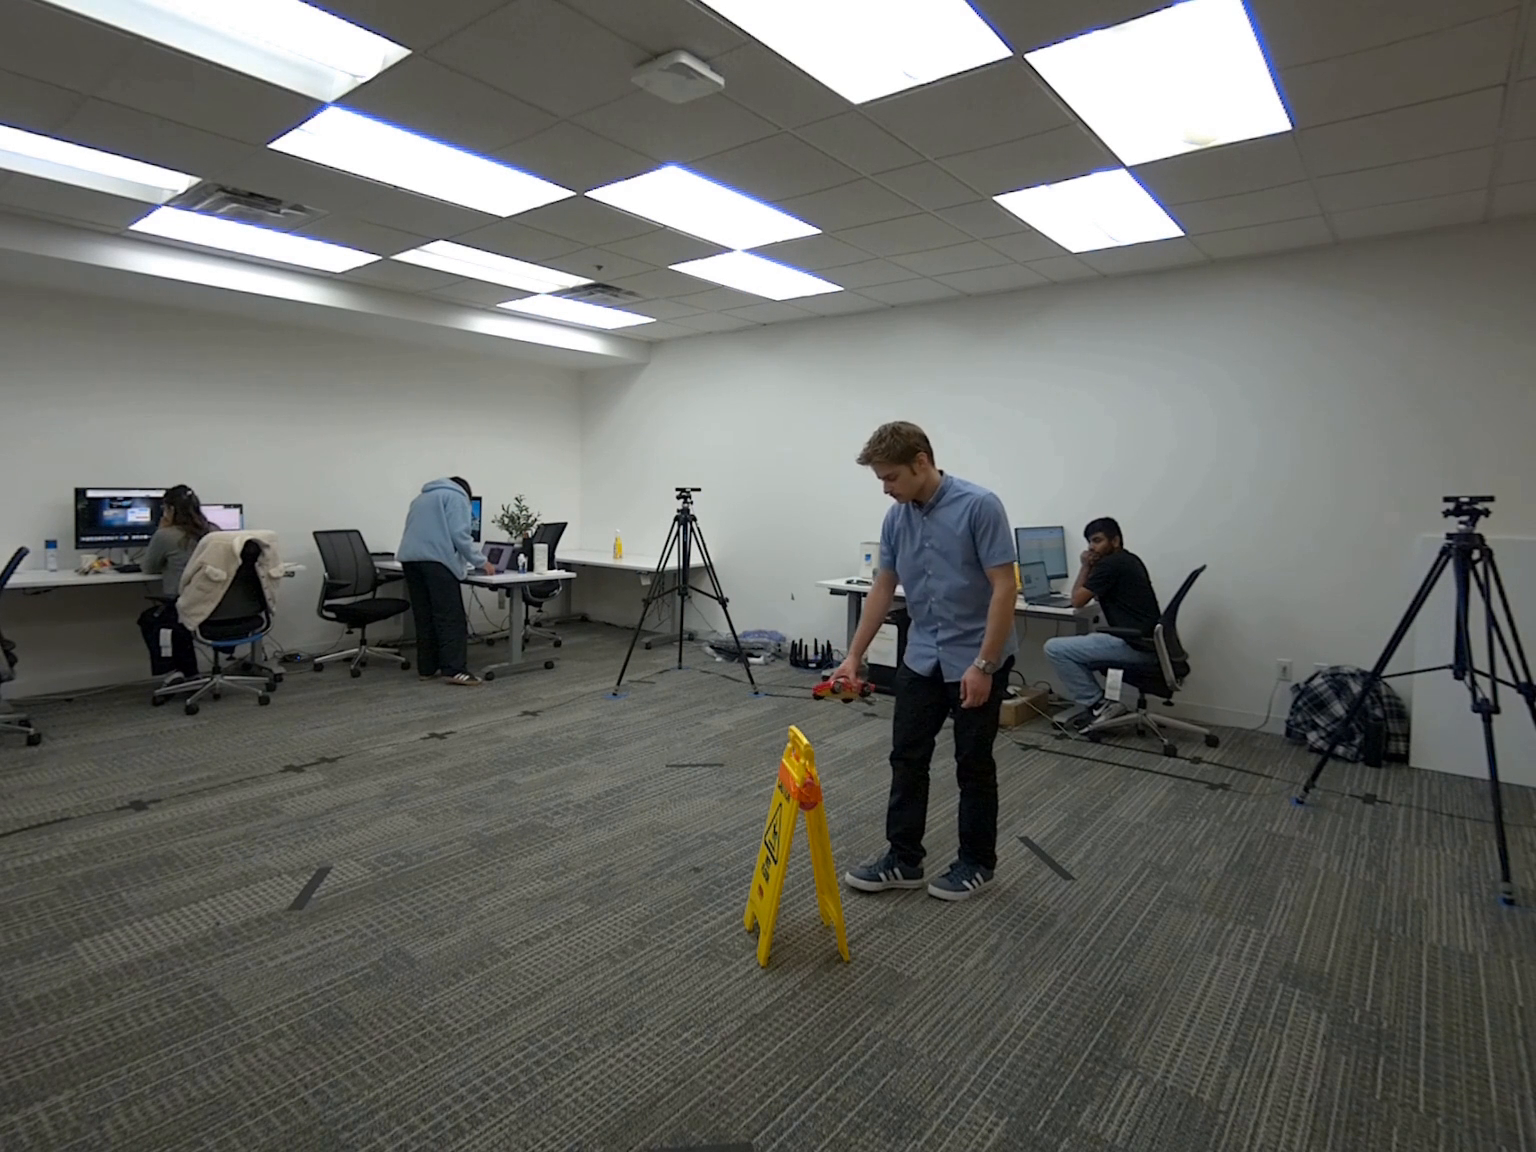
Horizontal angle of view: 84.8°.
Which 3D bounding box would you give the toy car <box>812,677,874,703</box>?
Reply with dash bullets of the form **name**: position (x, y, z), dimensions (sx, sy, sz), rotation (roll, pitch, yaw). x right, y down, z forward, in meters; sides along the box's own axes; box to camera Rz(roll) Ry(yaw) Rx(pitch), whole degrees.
- **toy car**: position (0.271, 0.414, 3.067), dimensions (0.246, 0.085, 0.132), rotation (-1, -19, -43)
